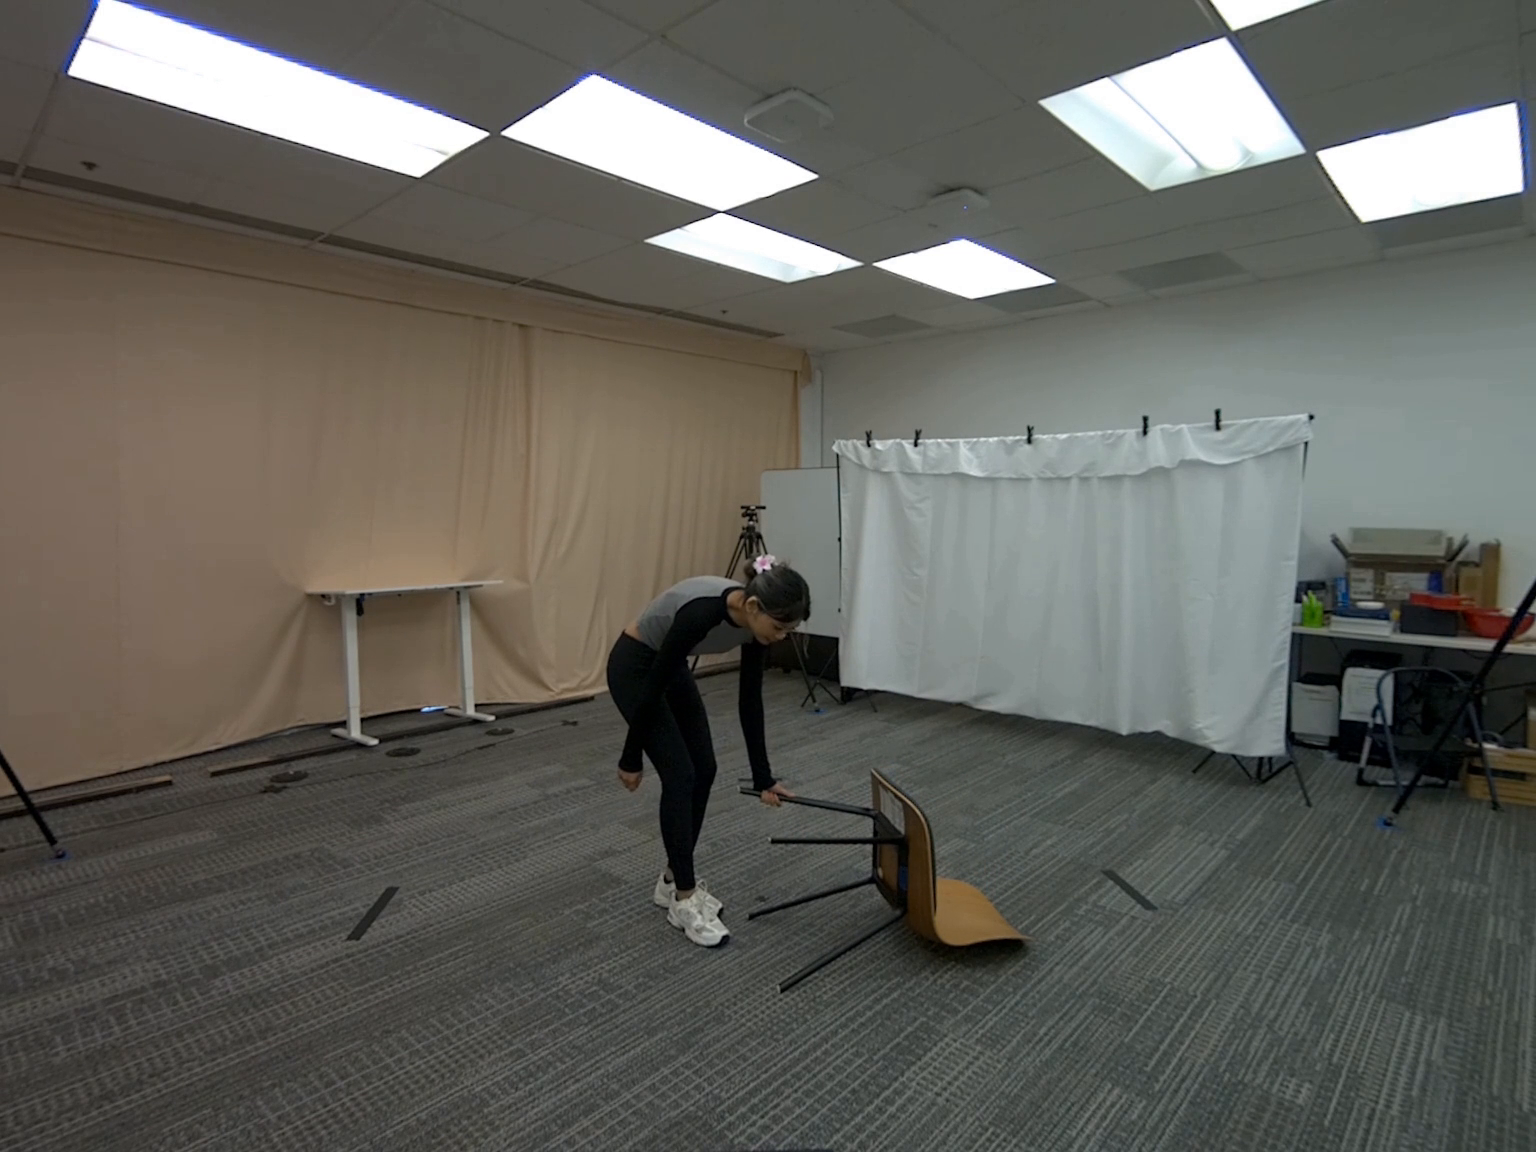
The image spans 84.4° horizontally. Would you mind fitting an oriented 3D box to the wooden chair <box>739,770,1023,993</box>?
[{"bbox_3d":[0.389,0.910,2.672,0.868,0.522,0.484,0,3,-10],"label":"wooden chair"}]
